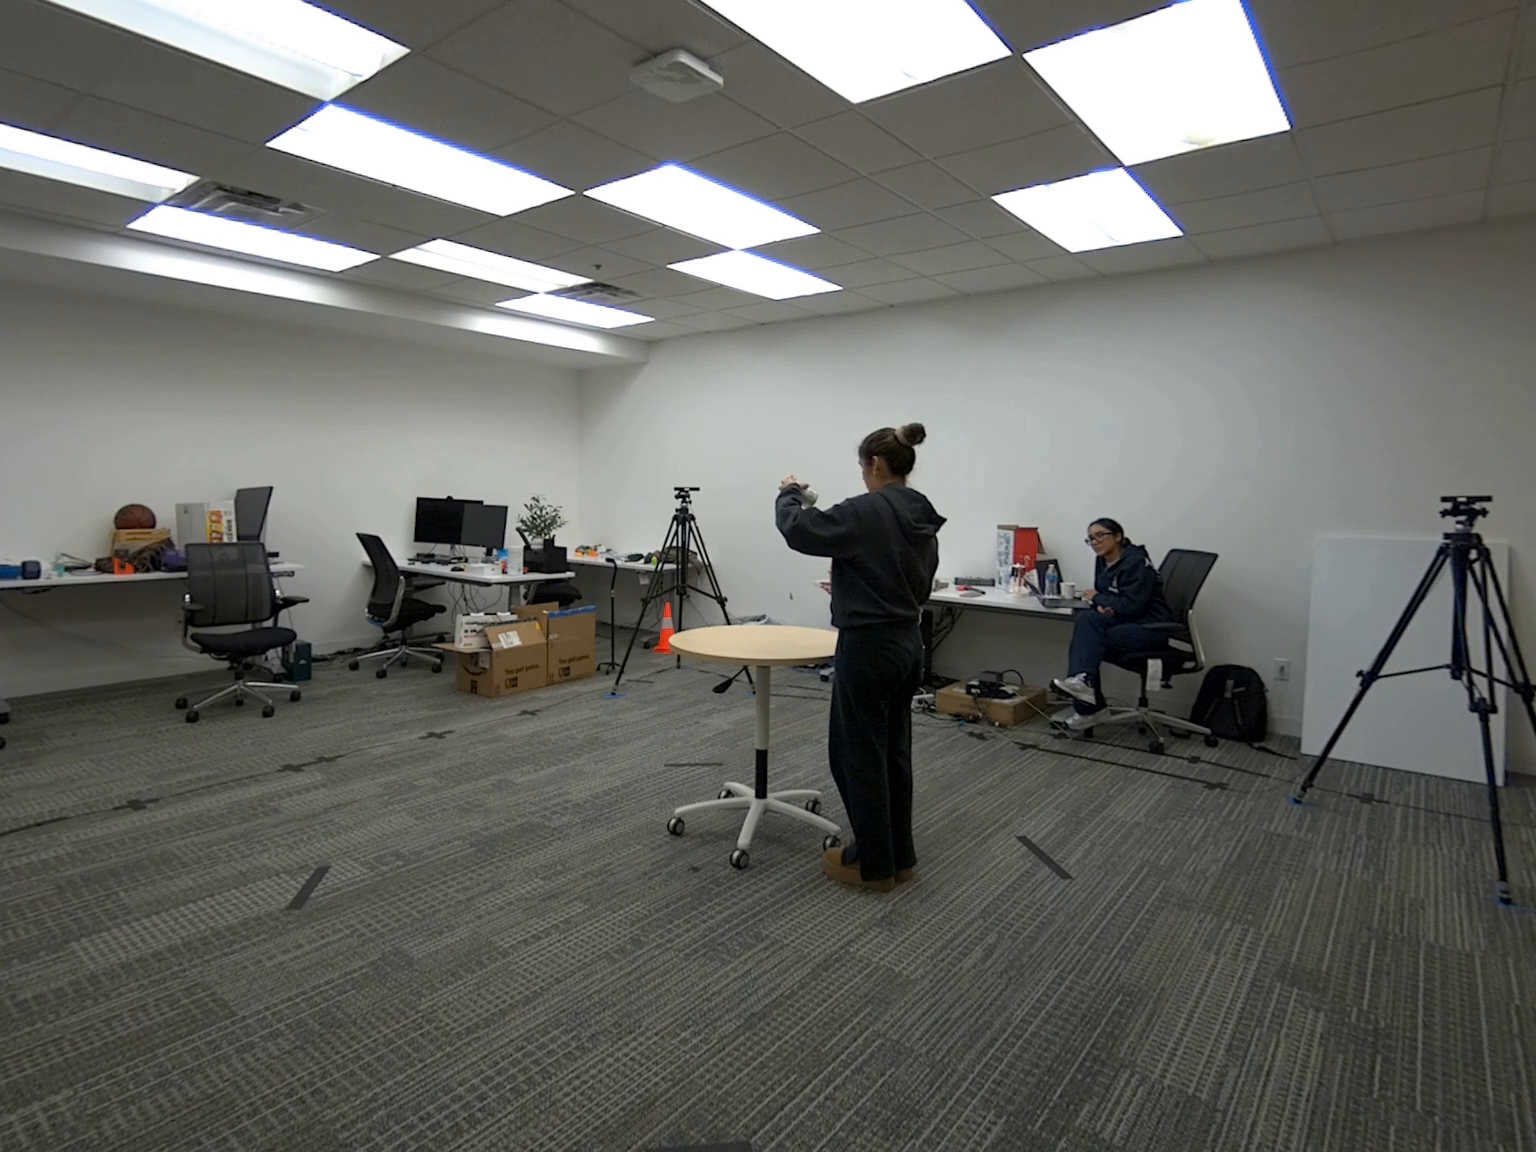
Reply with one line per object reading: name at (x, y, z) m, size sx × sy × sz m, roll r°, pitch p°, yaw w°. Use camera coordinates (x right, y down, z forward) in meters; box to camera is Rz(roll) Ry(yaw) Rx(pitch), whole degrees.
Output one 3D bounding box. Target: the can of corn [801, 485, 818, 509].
can of corn at (0.119, -0.302, 3.148) m, size 0.109 × 0.074 × 0.075 m, roll 17°, pitch 1°, yaw -10°
